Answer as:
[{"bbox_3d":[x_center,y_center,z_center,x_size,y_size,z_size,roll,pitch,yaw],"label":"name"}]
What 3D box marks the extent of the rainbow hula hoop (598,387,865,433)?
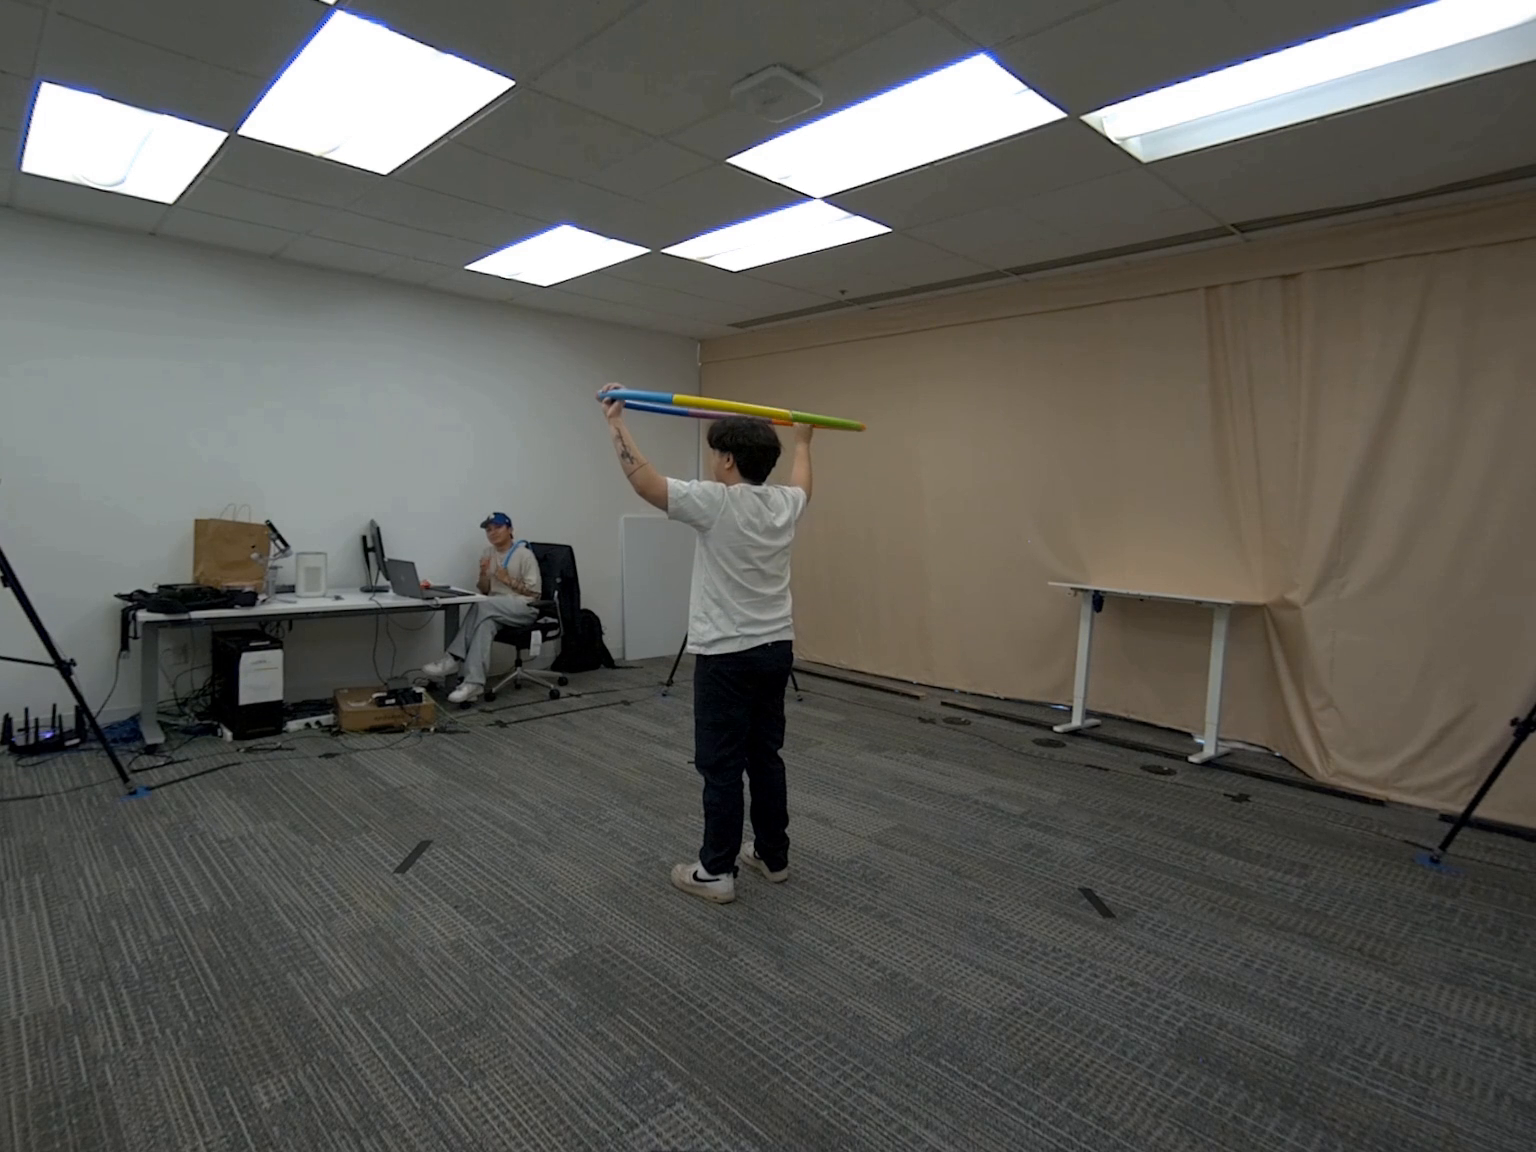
[{"bbox_3d":[-0.144,-0.599,3.074,0.984,0.051,0.992,6,9,-2],"label":"rainbow hula hoop"}]
